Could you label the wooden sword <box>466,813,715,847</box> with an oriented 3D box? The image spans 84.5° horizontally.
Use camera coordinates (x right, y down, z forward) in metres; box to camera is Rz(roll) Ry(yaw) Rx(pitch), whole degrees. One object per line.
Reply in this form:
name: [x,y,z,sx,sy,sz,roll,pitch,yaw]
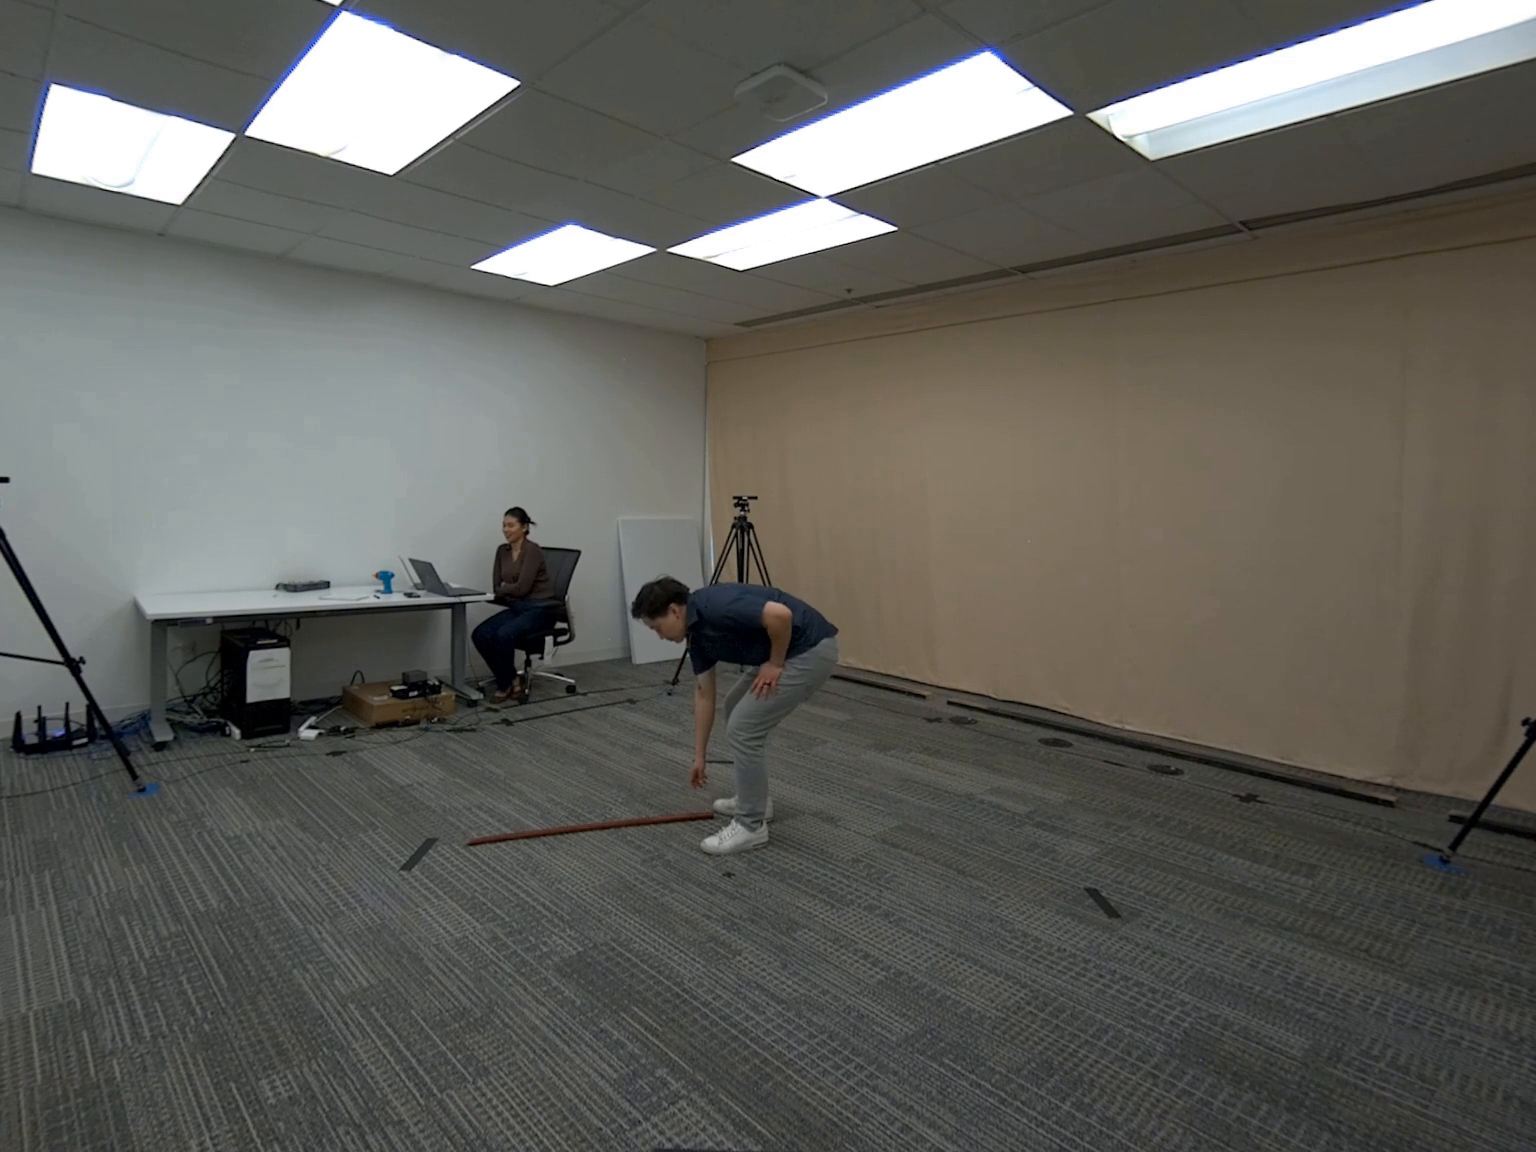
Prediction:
wooden sword: [-0.706,1.038,3.484,1.009,0.024,0.052,0,13,-20]
